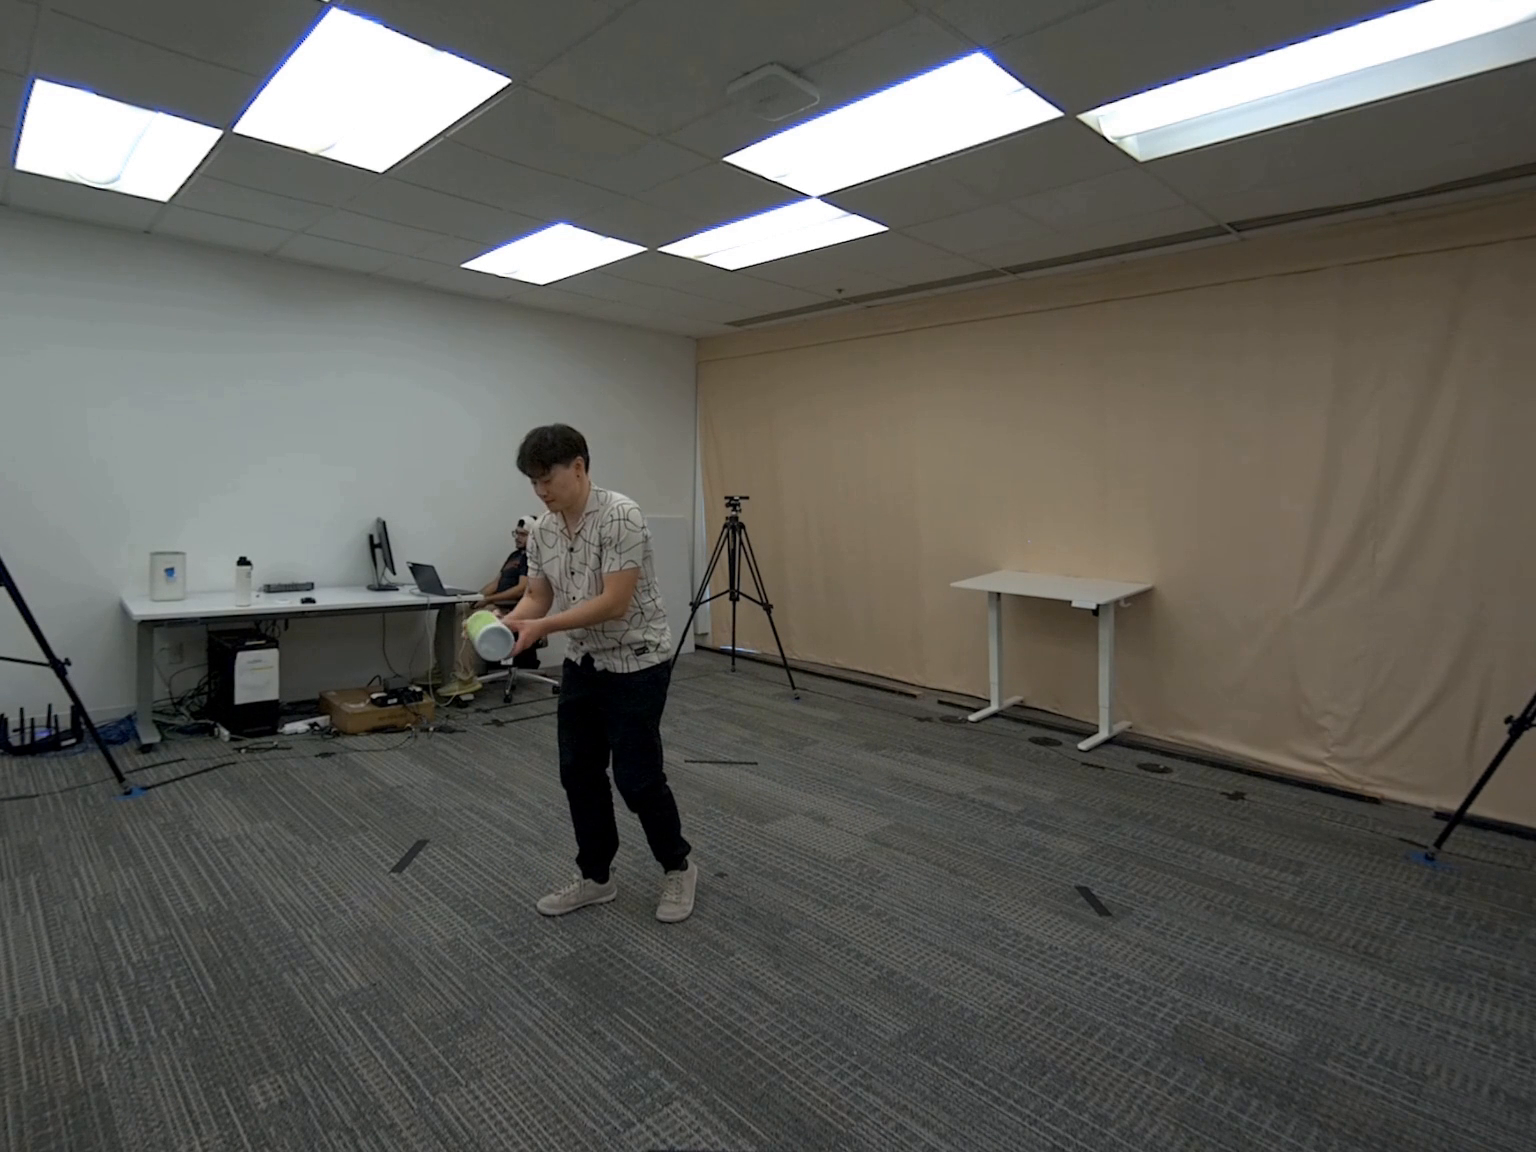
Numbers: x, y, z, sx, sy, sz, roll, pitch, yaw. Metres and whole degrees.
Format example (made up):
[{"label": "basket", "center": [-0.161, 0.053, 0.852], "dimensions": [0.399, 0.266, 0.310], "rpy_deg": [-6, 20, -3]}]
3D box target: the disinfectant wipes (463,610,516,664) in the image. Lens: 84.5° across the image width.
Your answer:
[{"label": "disinfectant wipes", "center": [-0.842, 0.181, 2.503], "dimensions": [0.115, 0.117, 0.223], "rpy_deg": [-1, 11, -28]}]
